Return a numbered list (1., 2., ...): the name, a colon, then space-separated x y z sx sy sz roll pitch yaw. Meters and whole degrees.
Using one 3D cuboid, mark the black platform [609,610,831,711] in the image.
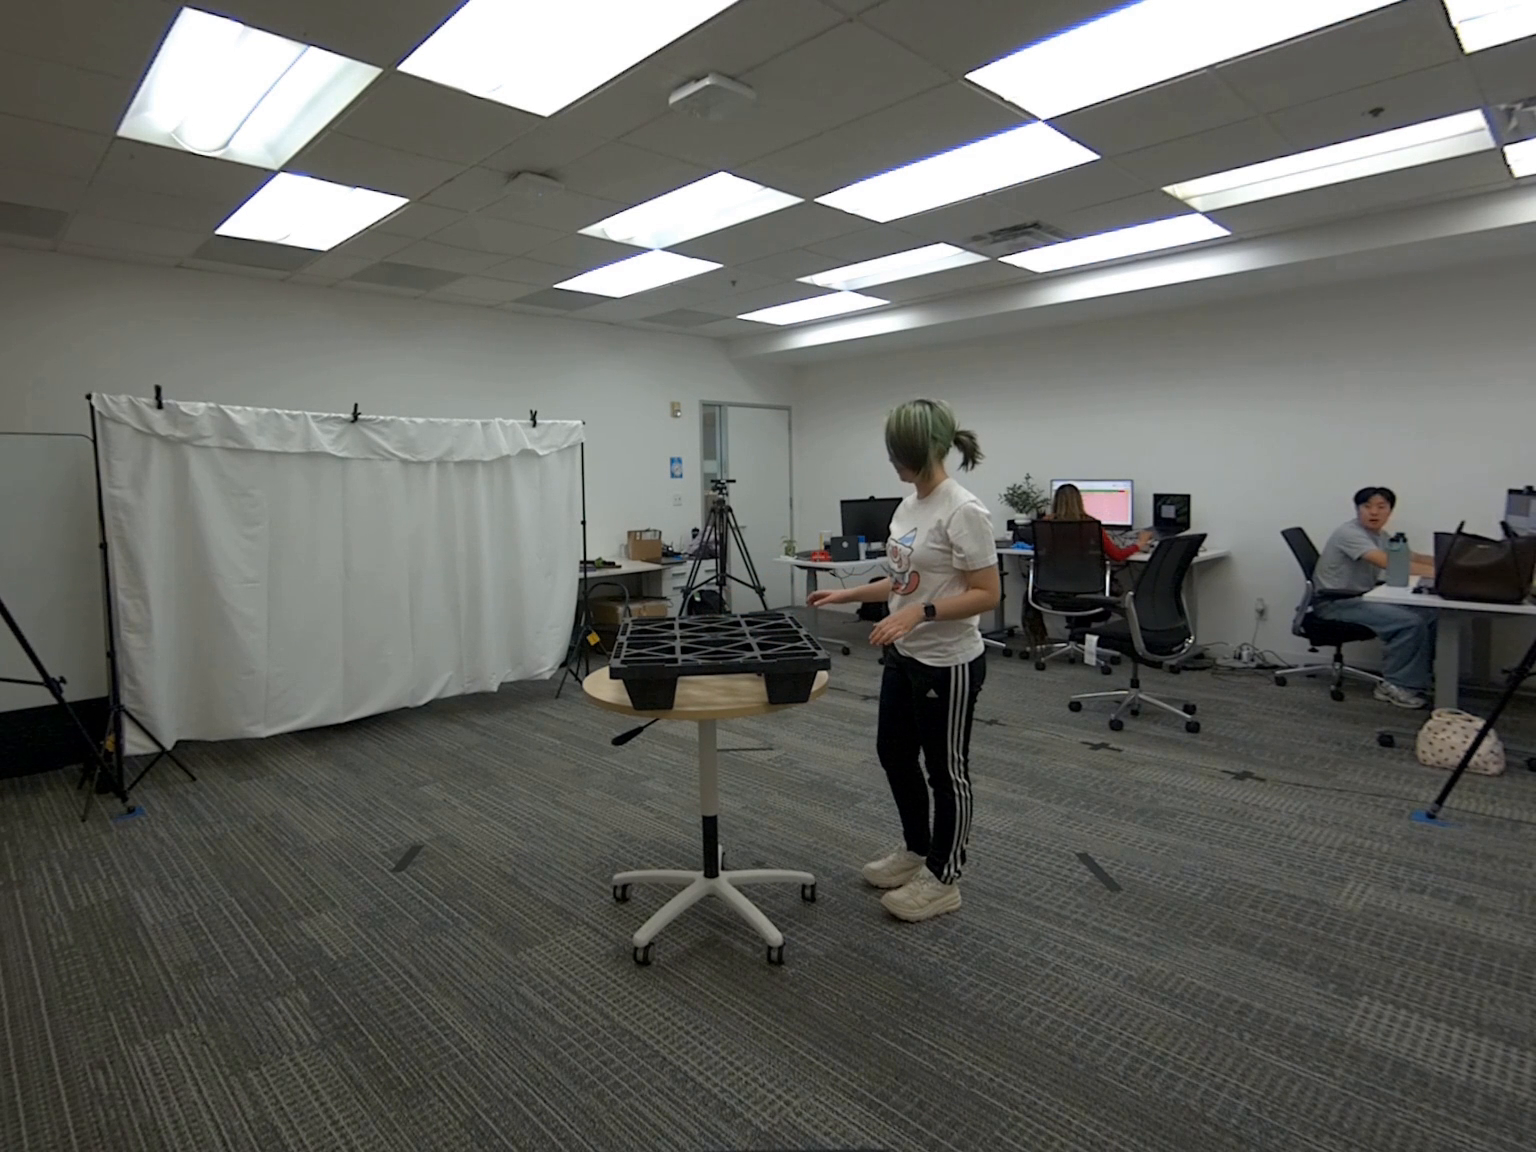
1. black platform: -0.163 0.250 2.676 0.603 0.142 0.813 -2 7 -5
